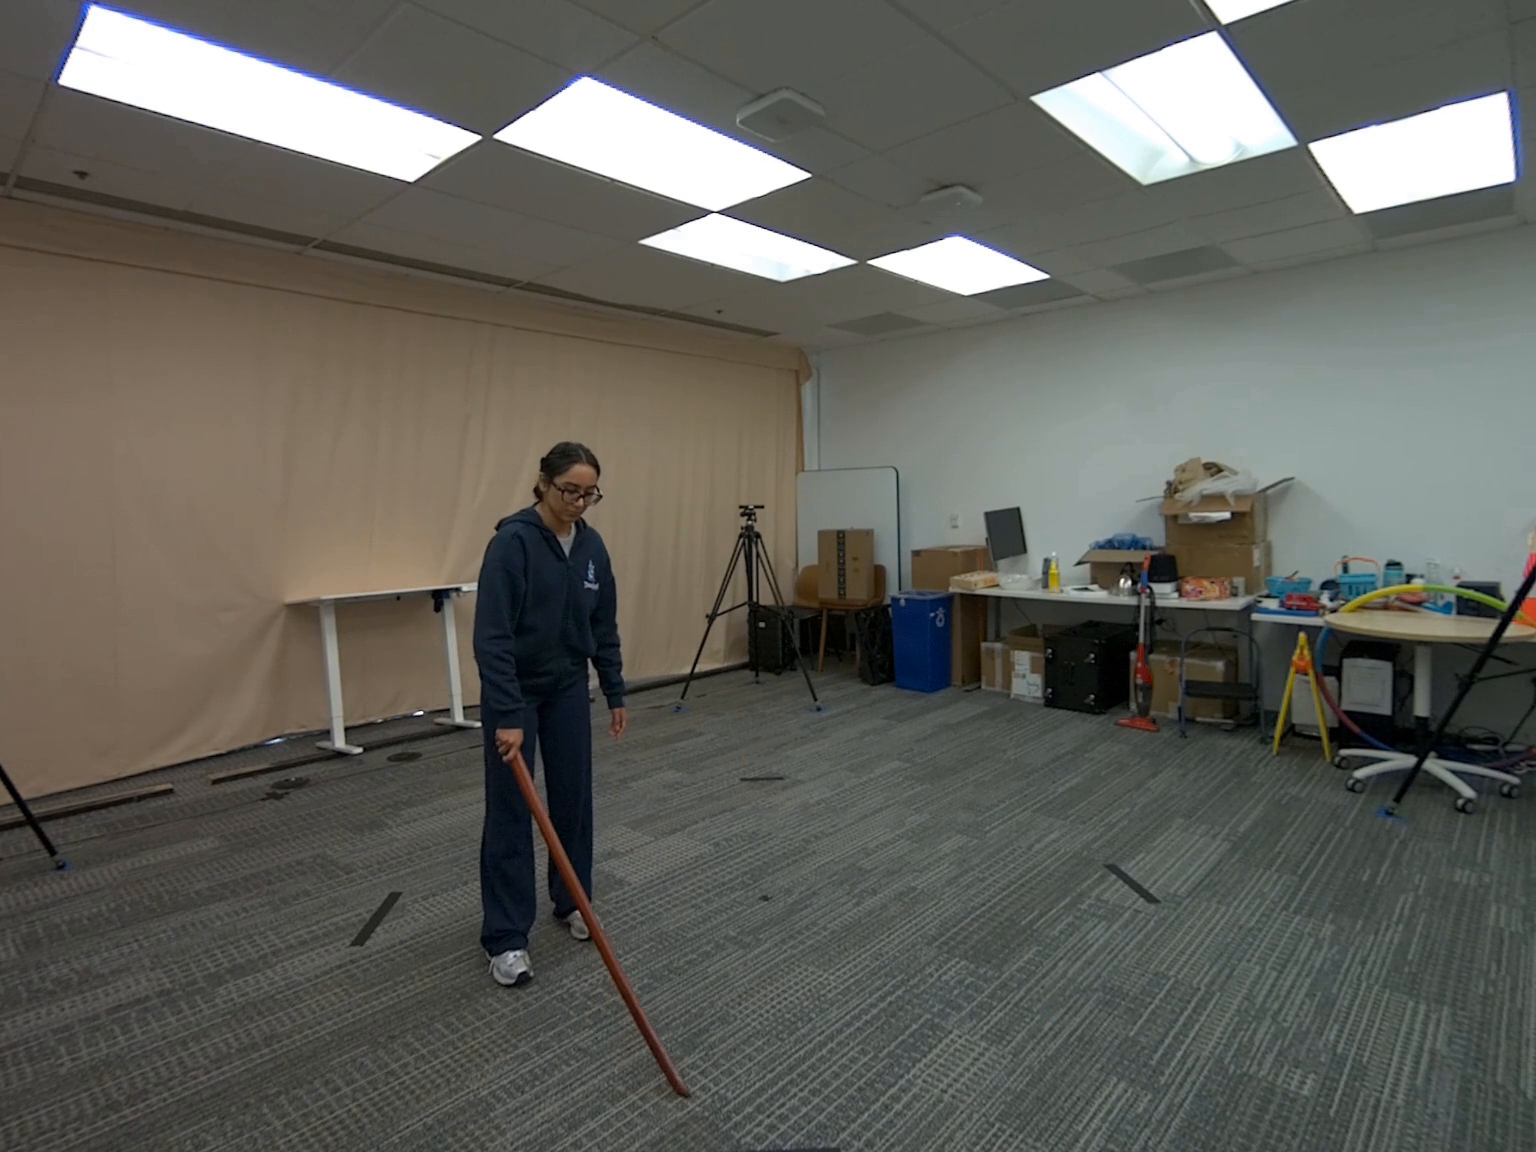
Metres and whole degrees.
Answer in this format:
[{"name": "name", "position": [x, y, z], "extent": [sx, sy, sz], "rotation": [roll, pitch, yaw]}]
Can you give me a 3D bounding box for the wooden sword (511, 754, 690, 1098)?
[{"name": "wooden sword", "position": [-0.469, 0.843, 2.187], "extent": [0.023, 1.050, 0.051], "rotation": [-15, -30, -39]}]
